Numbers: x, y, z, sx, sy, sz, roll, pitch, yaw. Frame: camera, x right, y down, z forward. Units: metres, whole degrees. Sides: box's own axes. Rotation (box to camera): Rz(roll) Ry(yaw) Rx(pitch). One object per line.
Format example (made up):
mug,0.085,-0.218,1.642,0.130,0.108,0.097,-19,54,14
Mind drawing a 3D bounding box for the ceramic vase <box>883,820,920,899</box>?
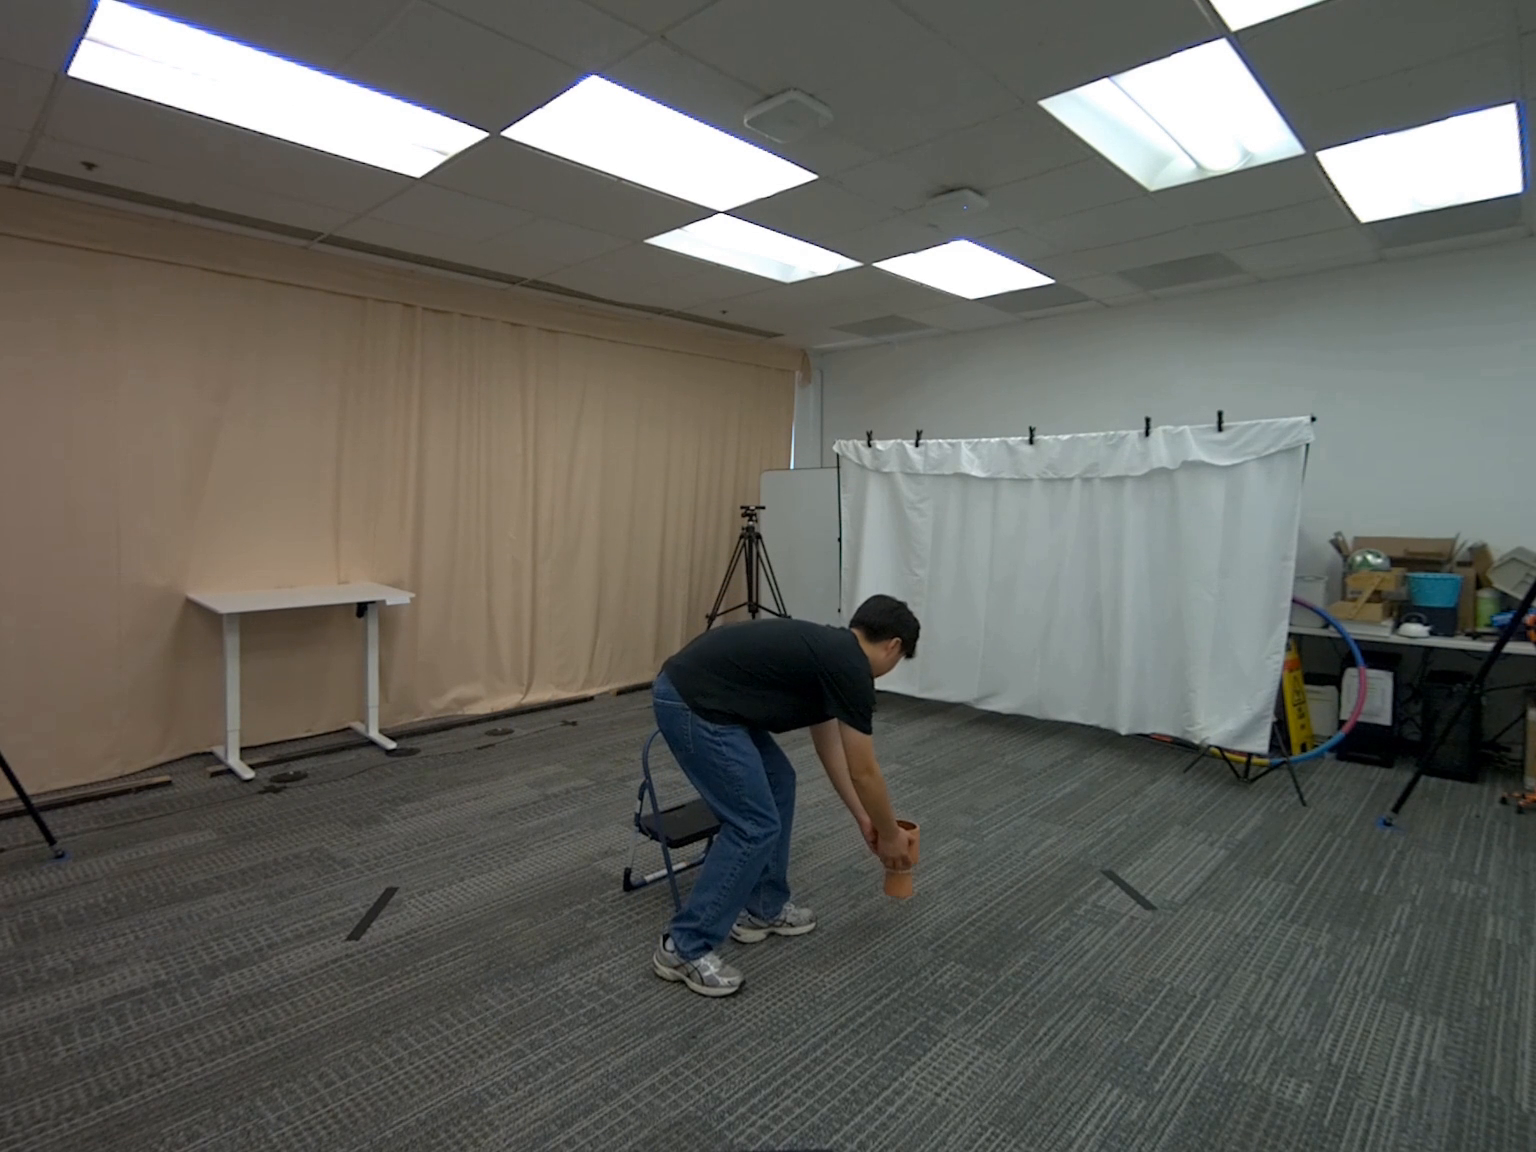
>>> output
ceramic vase,0.433,0.935,2.764,0.139,0.220,0.154,0,0,33
